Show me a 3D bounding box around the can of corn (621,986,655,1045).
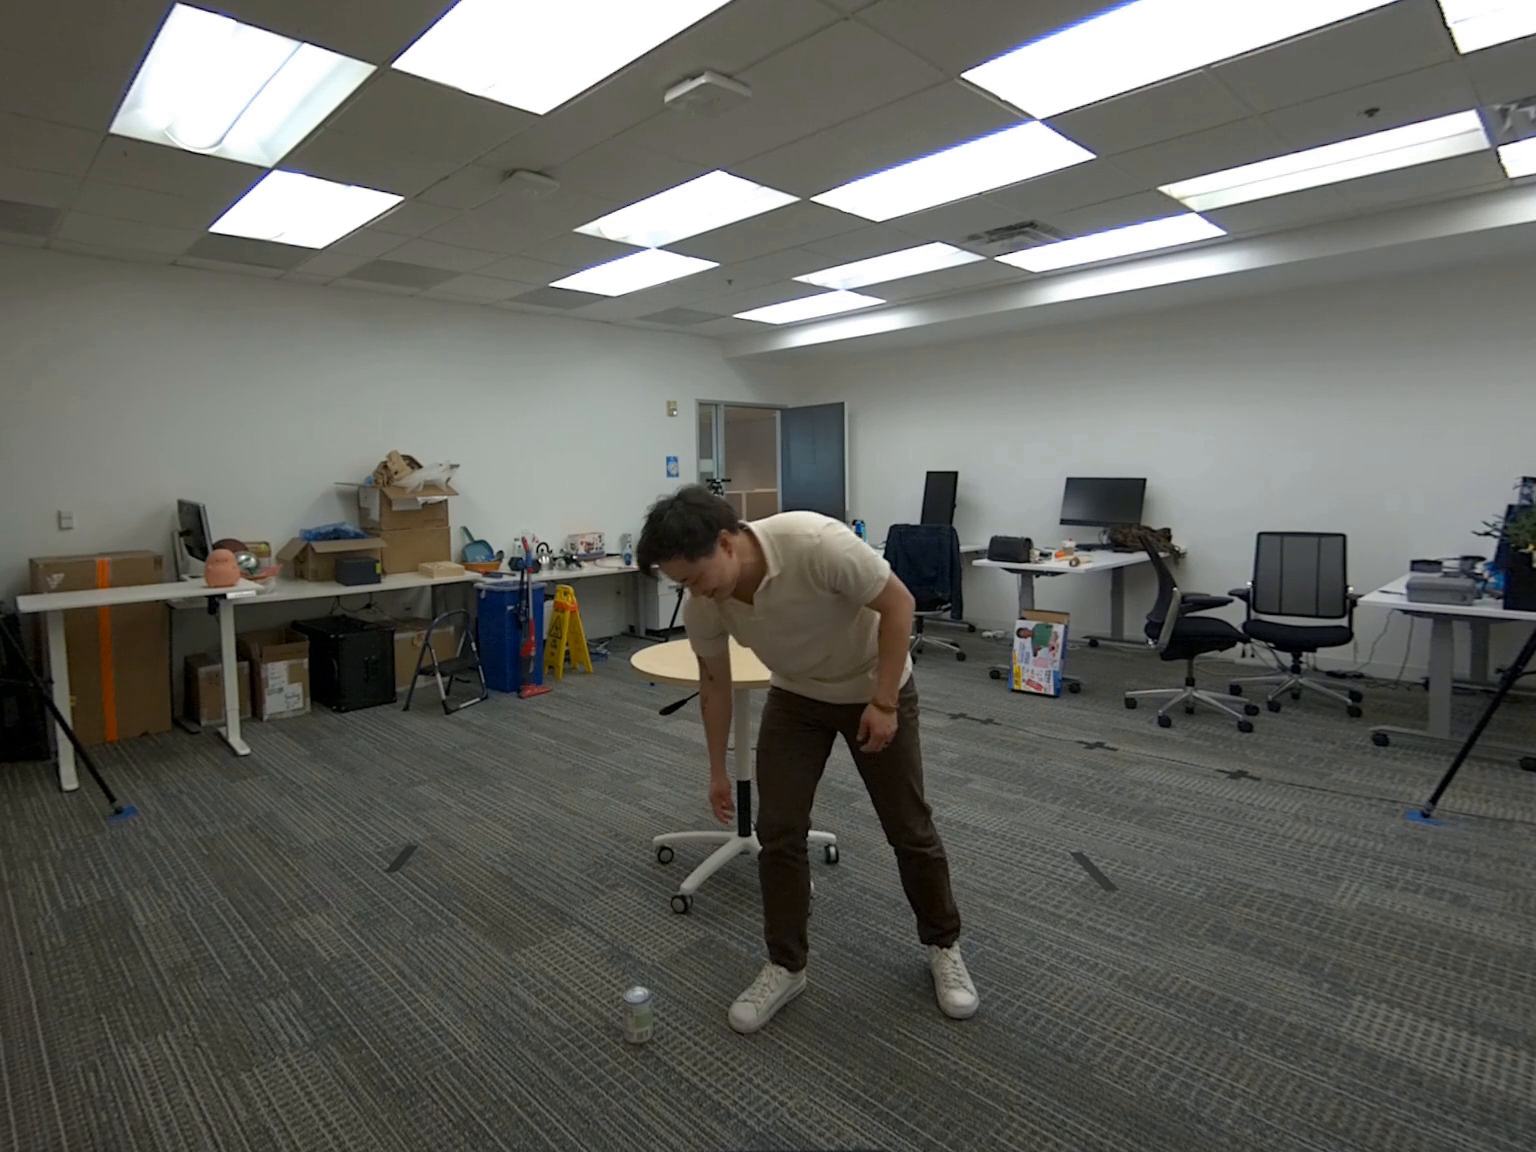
[{"bbox_3d":[-0.316,1.106,2.143,0.074,0.110,0.075,1,8,-2],"label":"can of corn"}]
